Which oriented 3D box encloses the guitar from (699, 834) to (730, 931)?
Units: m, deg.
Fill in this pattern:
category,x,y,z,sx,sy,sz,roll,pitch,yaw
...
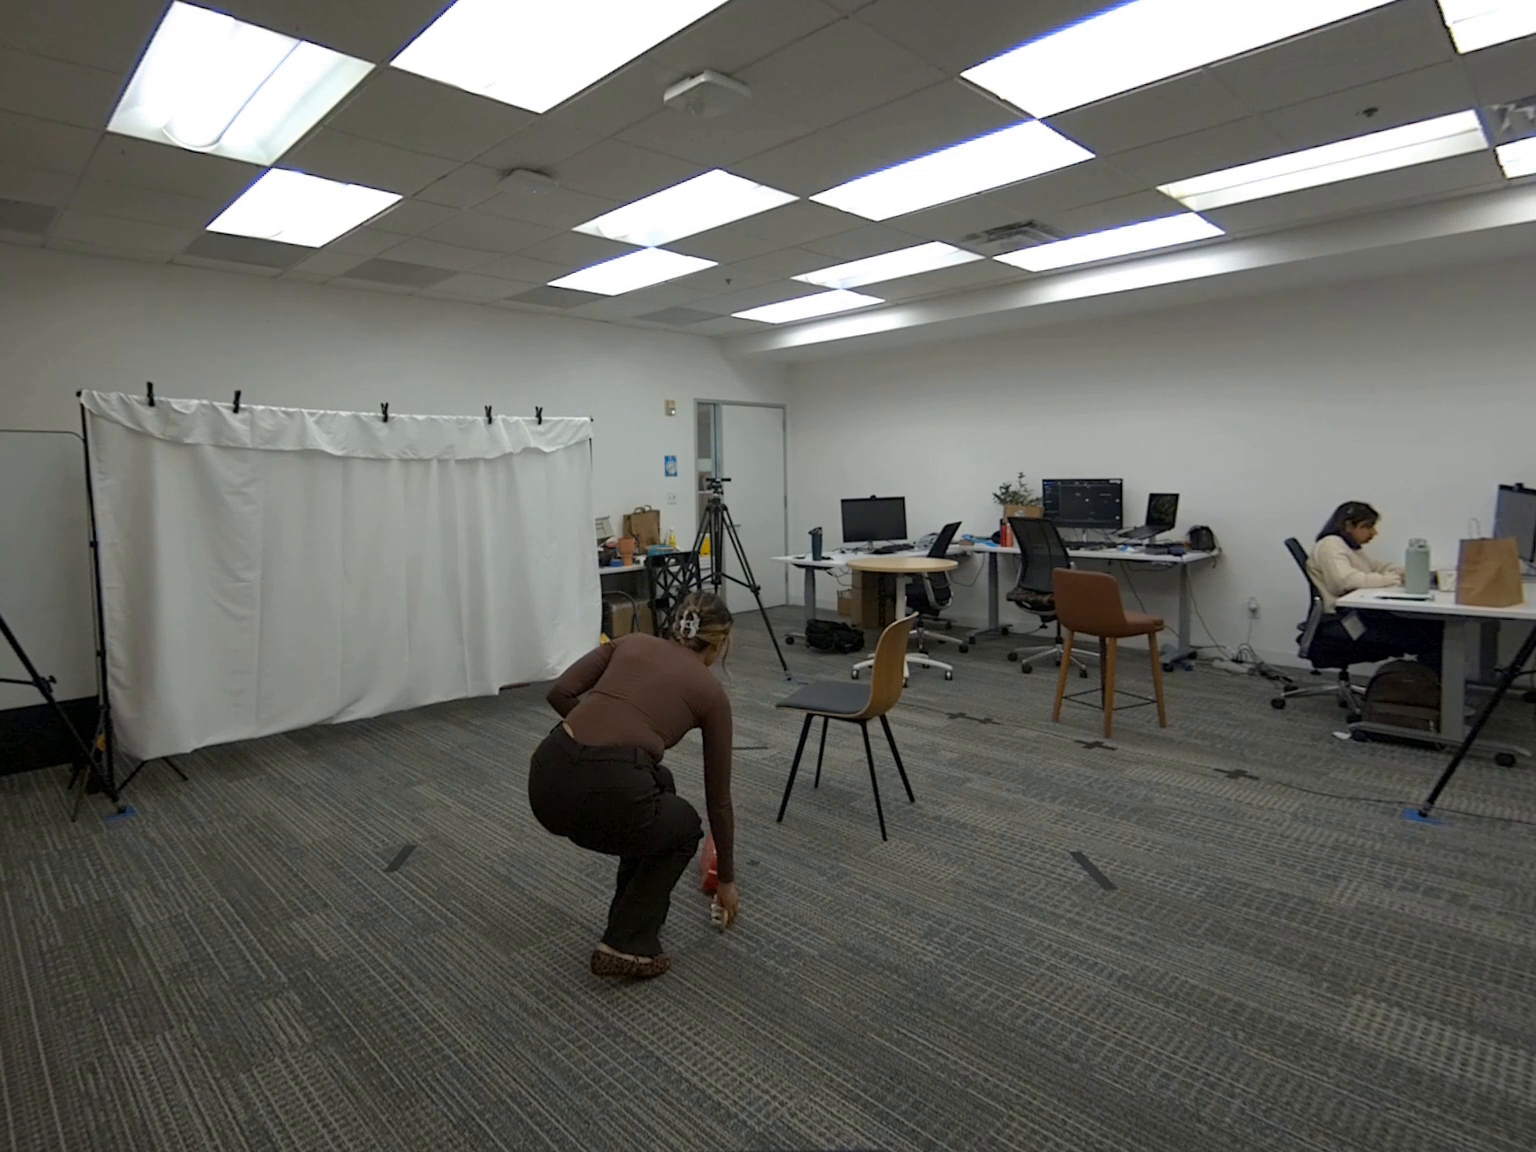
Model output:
category,x,y,z,sx,sy,sz,roll,pitch,yaw
guitar,-0.164,0.971,2.864,0.070,0.193,0.501,15,2,-7
